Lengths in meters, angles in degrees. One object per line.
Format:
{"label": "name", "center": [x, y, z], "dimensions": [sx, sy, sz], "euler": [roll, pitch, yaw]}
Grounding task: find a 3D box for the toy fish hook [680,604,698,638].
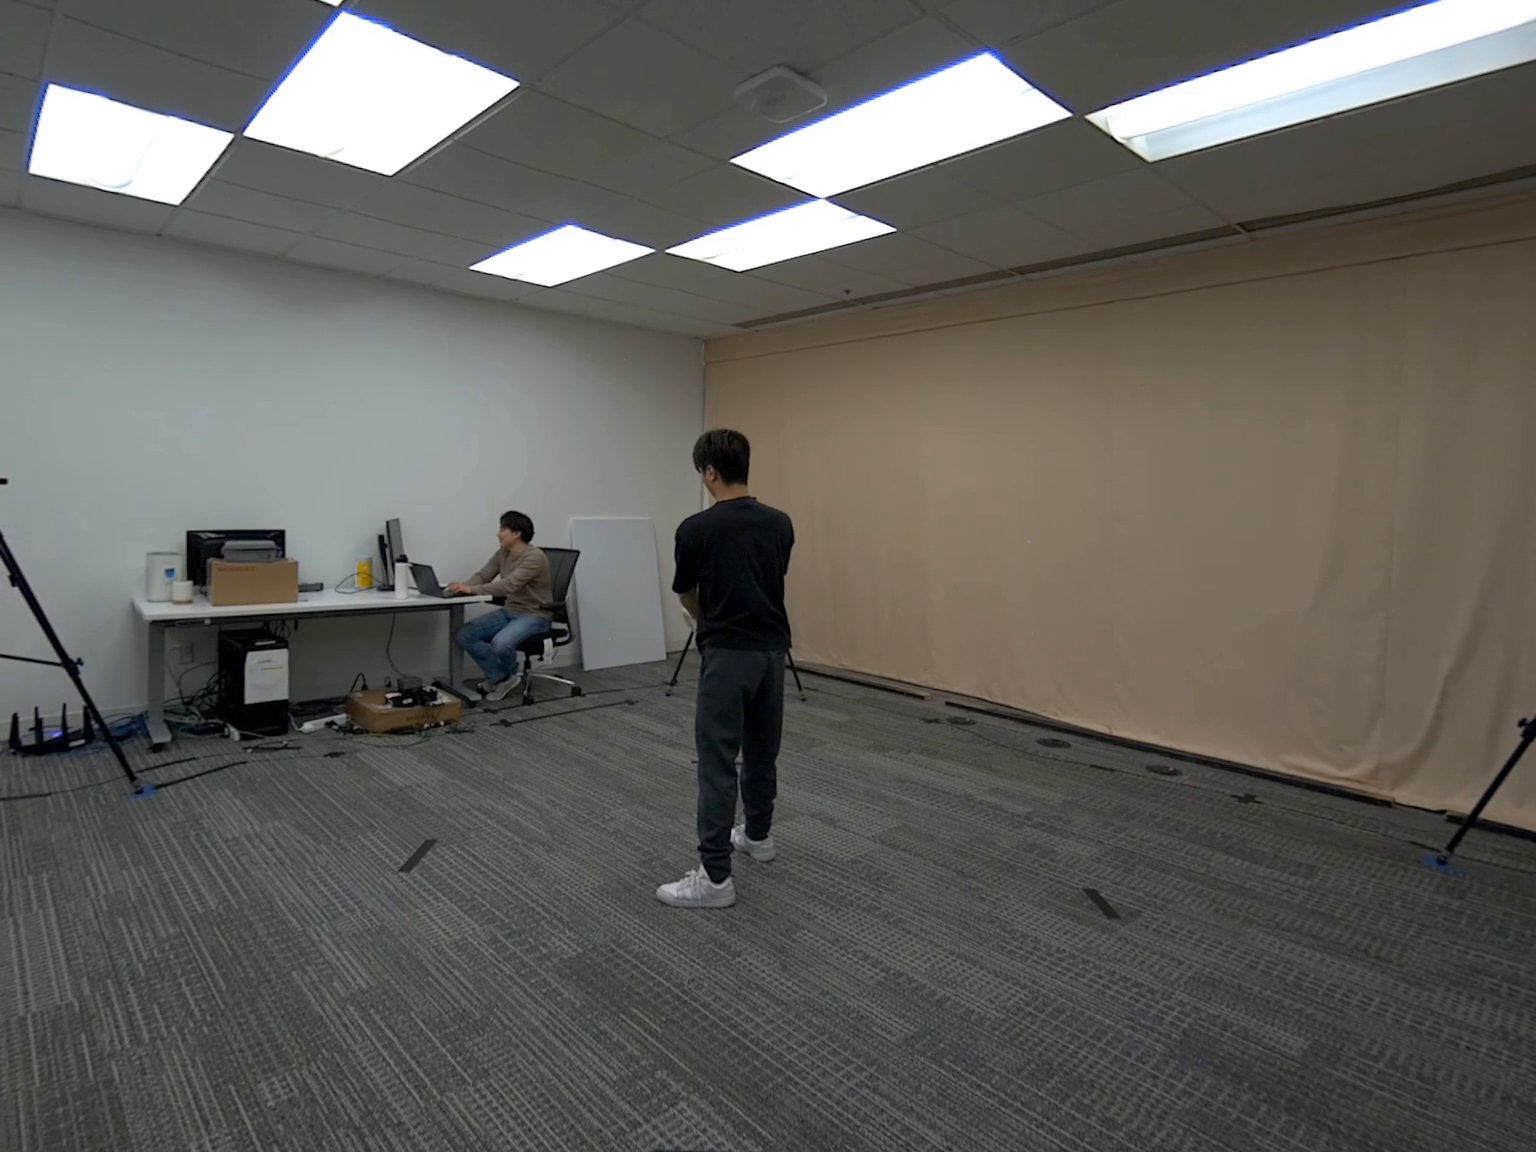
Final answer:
{"label": "toy fish hook", "center": [-0.265, 0.229, 3.581], "dimensions": [0.048, 0.223, 0.512], "euler": [-38, 9, -14]}
